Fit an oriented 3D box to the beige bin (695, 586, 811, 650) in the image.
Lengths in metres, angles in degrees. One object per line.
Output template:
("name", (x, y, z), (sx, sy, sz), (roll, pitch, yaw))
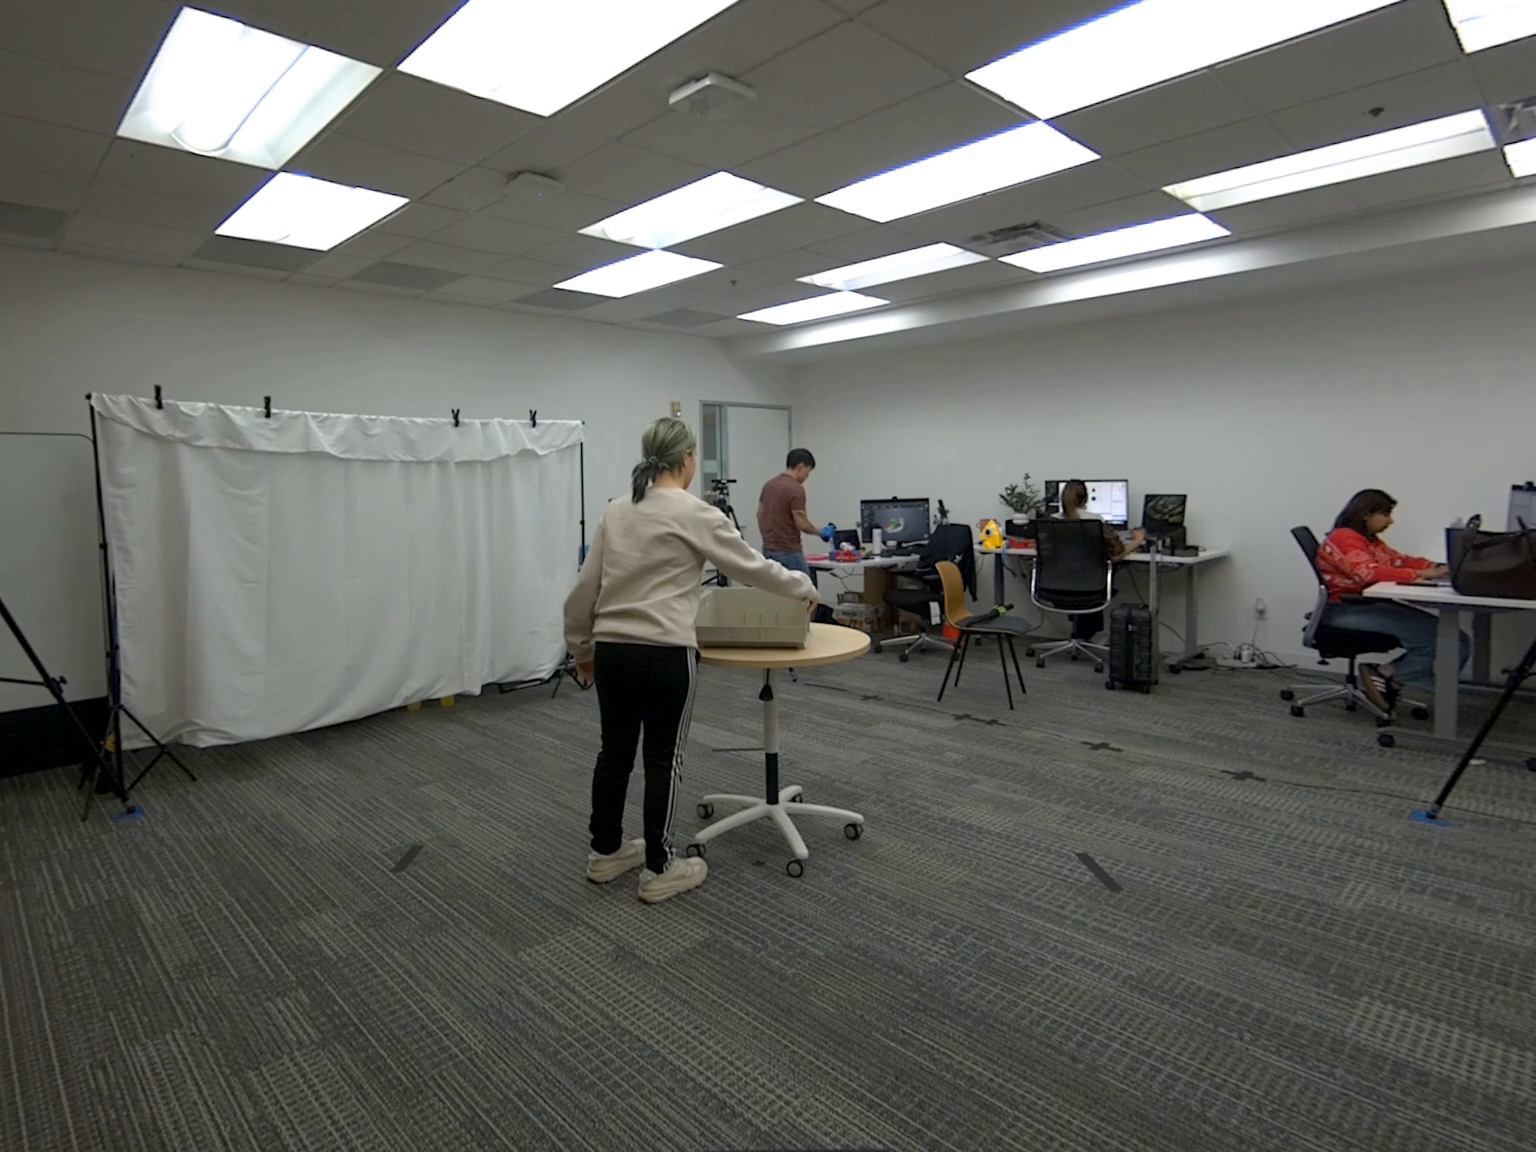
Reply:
("beige bin", (-0.054, 0.161, 3.240), (0.426, 0.188, 0.375), (-1, 4, 8))
